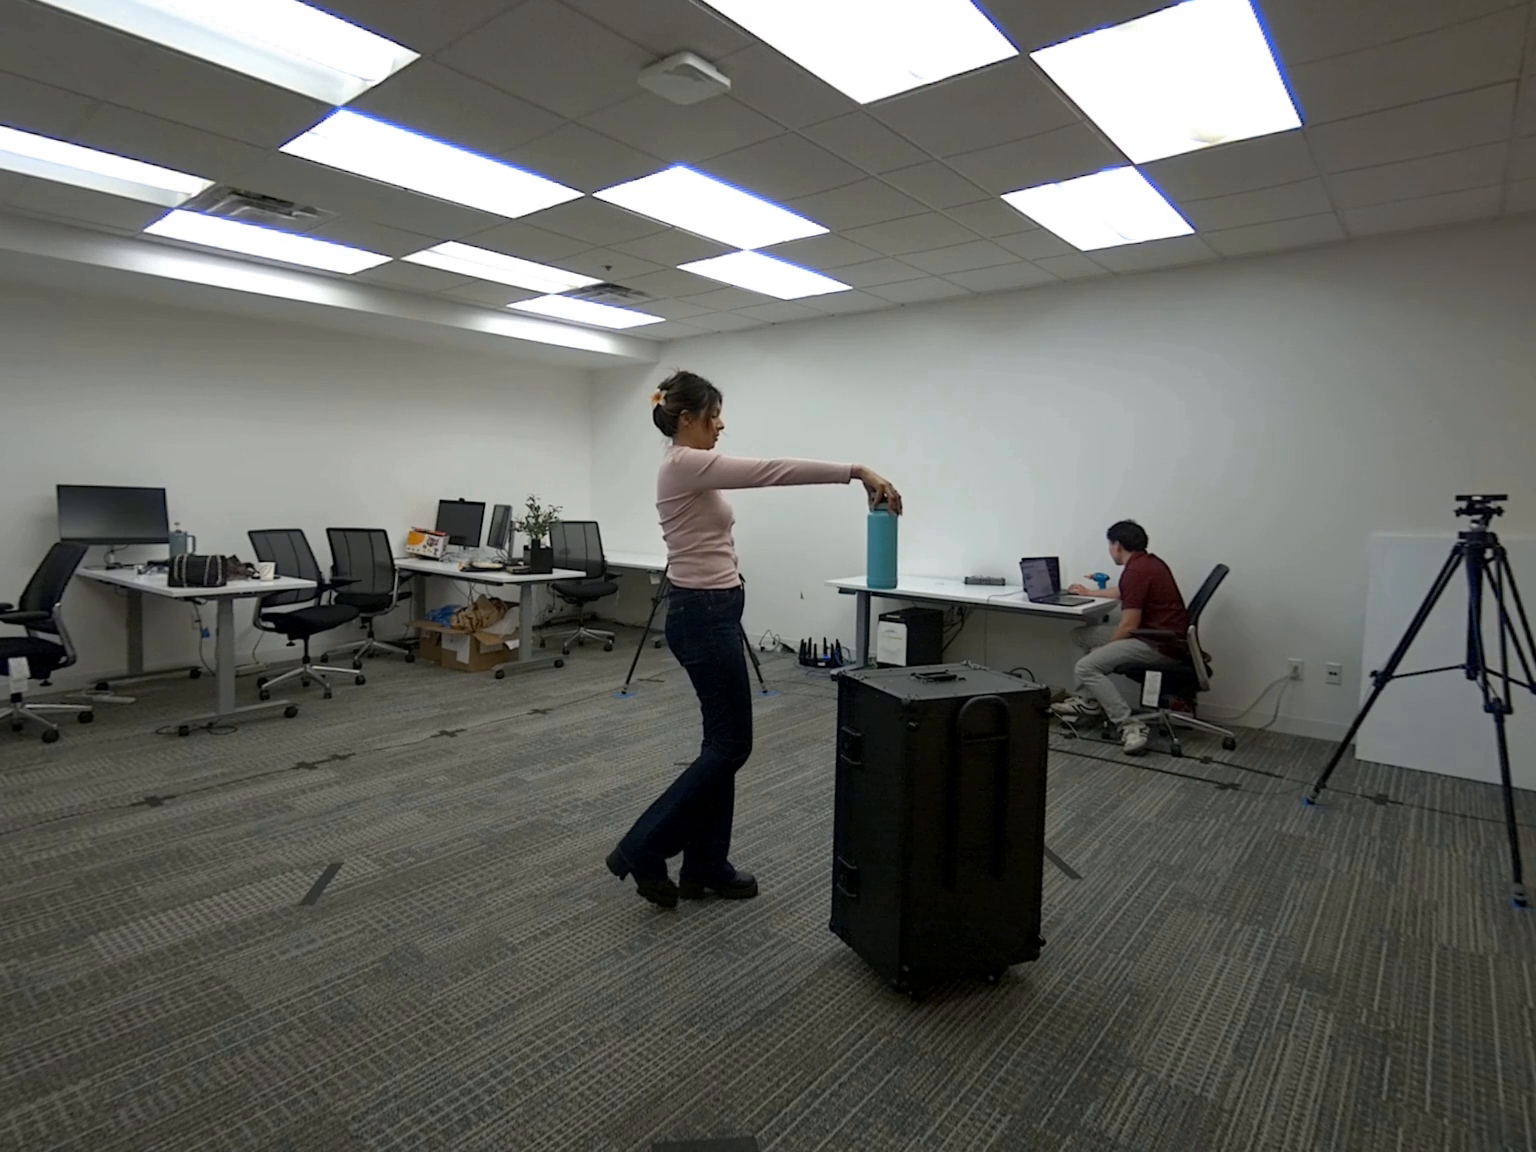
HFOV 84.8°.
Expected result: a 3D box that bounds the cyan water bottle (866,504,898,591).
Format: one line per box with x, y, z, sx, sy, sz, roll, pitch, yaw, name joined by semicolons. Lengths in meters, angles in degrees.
0.334;-0.105;2.510;0.092;0.283;0.092;1;1;-2;cyan water bottle
